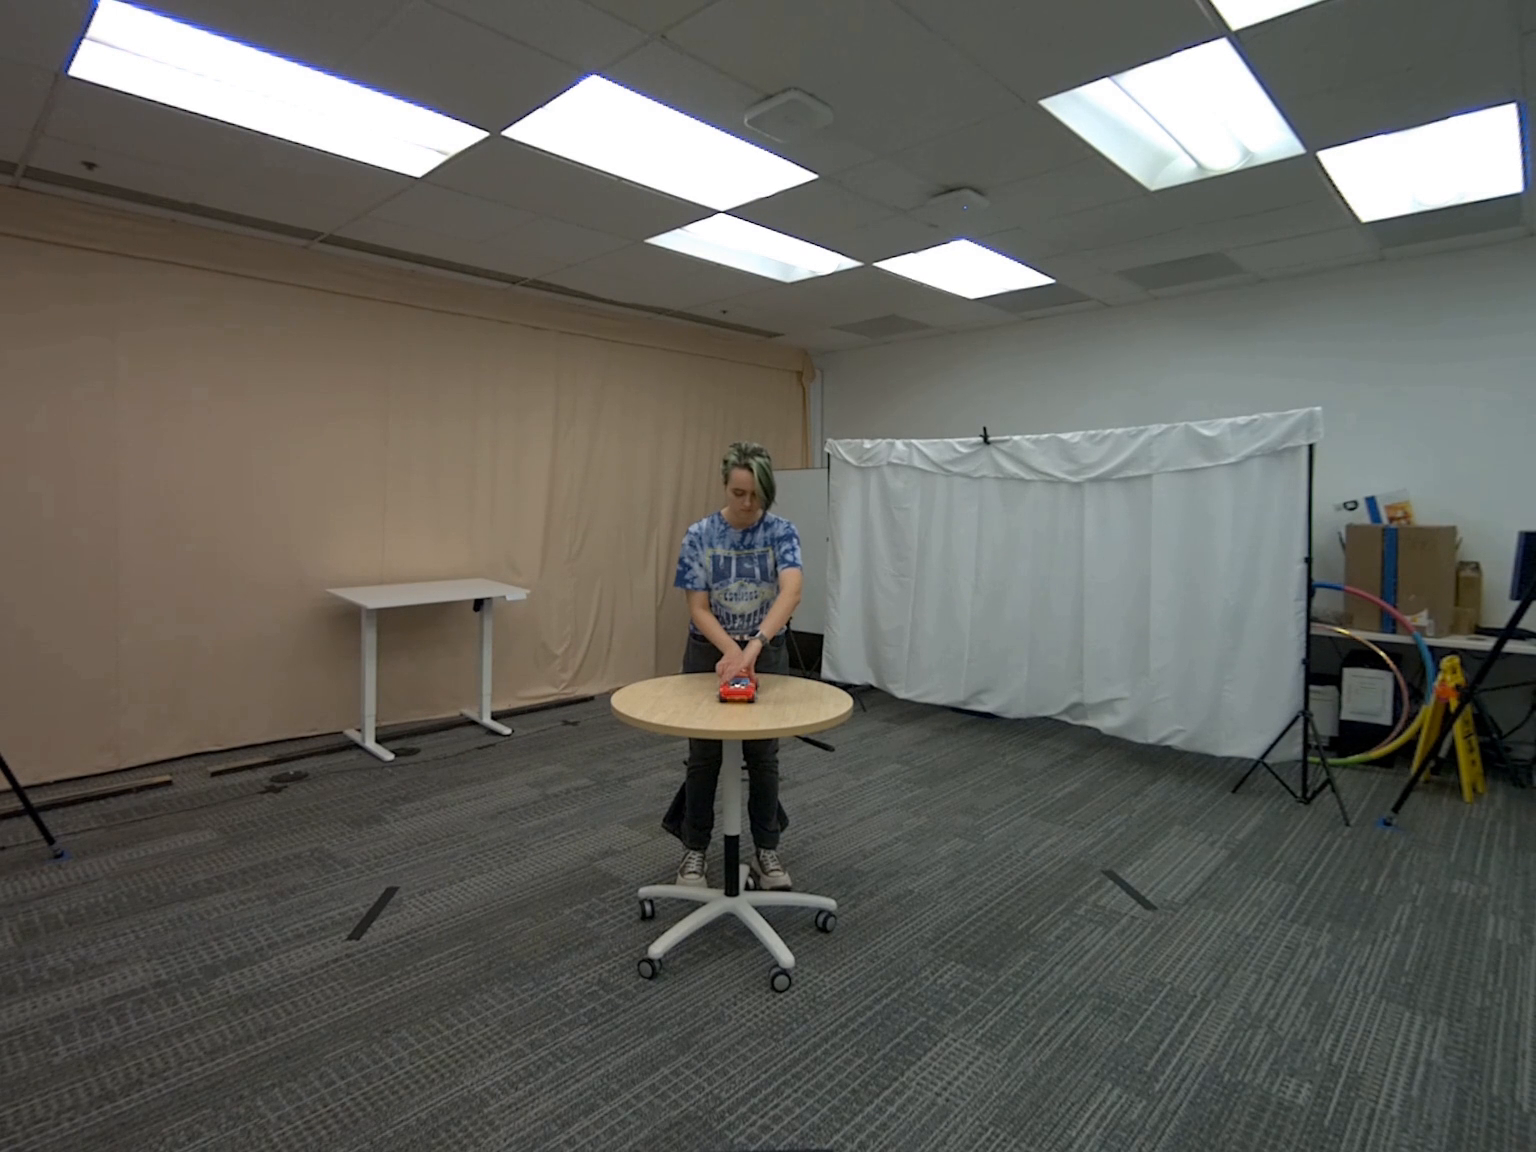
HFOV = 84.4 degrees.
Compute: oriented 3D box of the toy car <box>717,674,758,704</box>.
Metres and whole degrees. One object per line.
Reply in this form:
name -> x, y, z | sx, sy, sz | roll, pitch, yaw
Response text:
toy car -> -0.097, 0.351, 2.711 | 0.131, 0.082, 0.256 | 0, 17, 3
